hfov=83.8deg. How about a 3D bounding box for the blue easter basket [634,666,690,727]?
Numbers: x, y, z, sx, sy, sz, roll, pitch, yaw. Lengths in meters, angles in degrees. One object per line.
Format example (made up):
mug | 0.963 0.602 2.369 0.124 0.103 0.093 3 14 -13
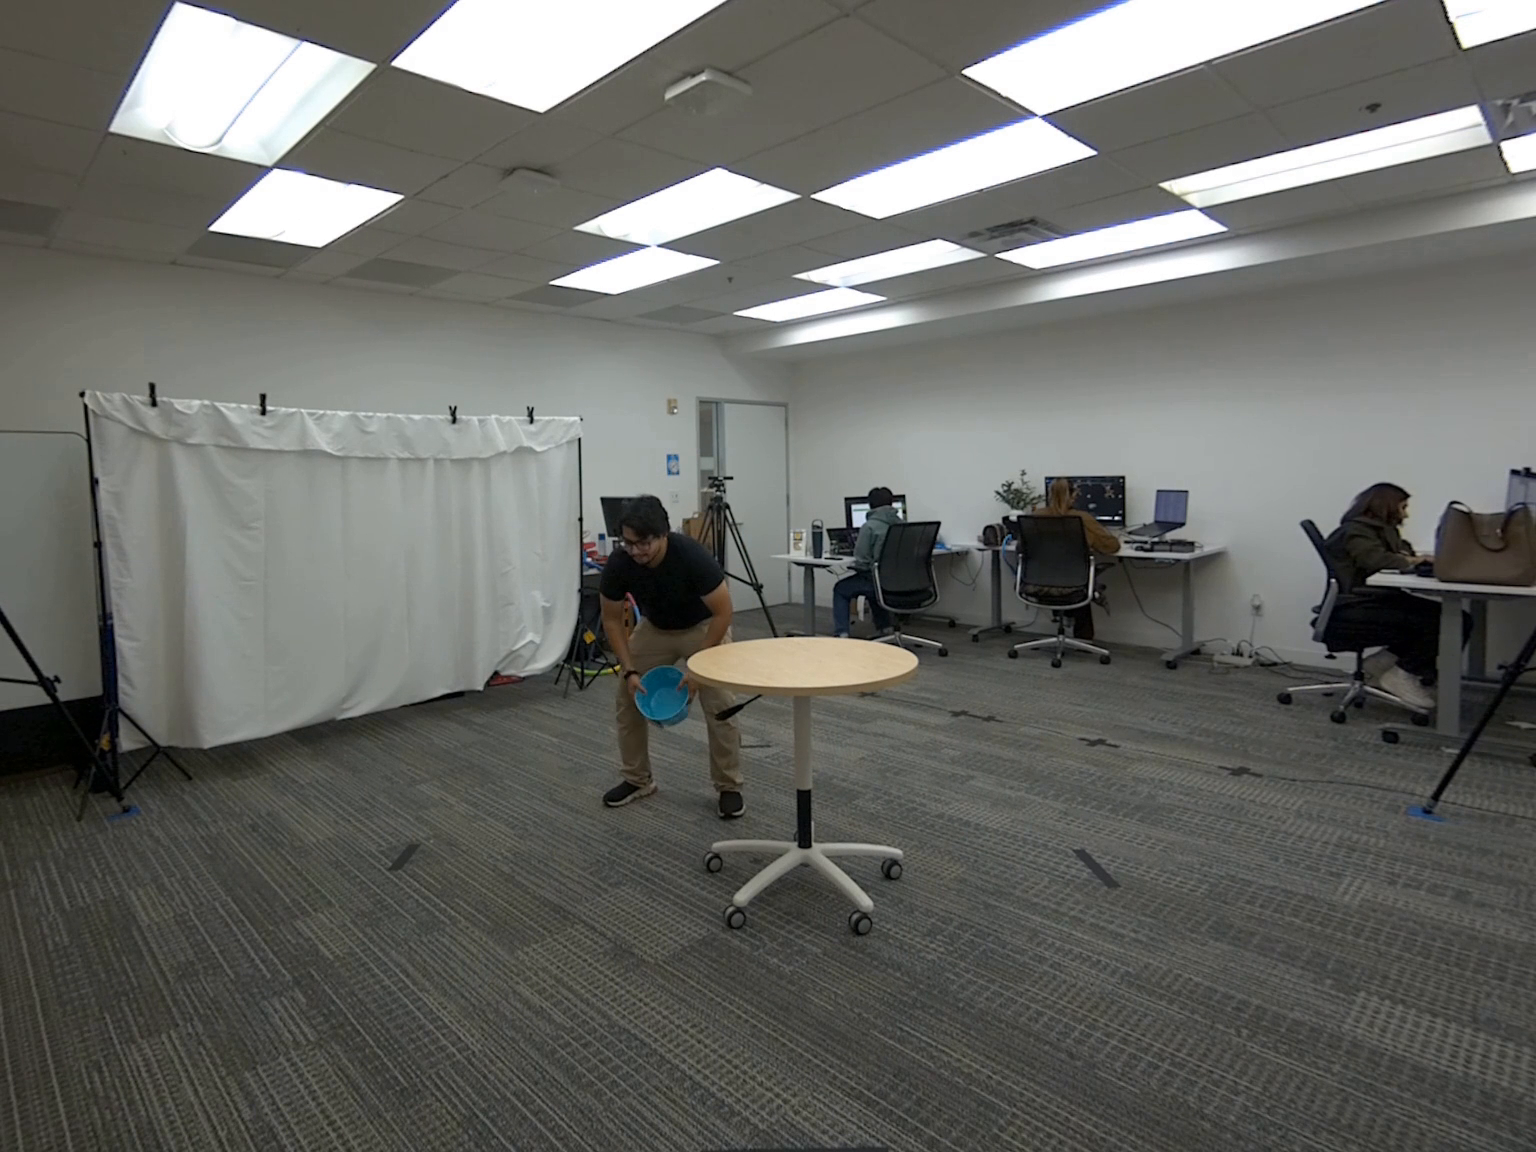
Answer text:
blue easter basket | -0.441 0.513 3.564 0.247 0.248 0.151 0 -31 13
